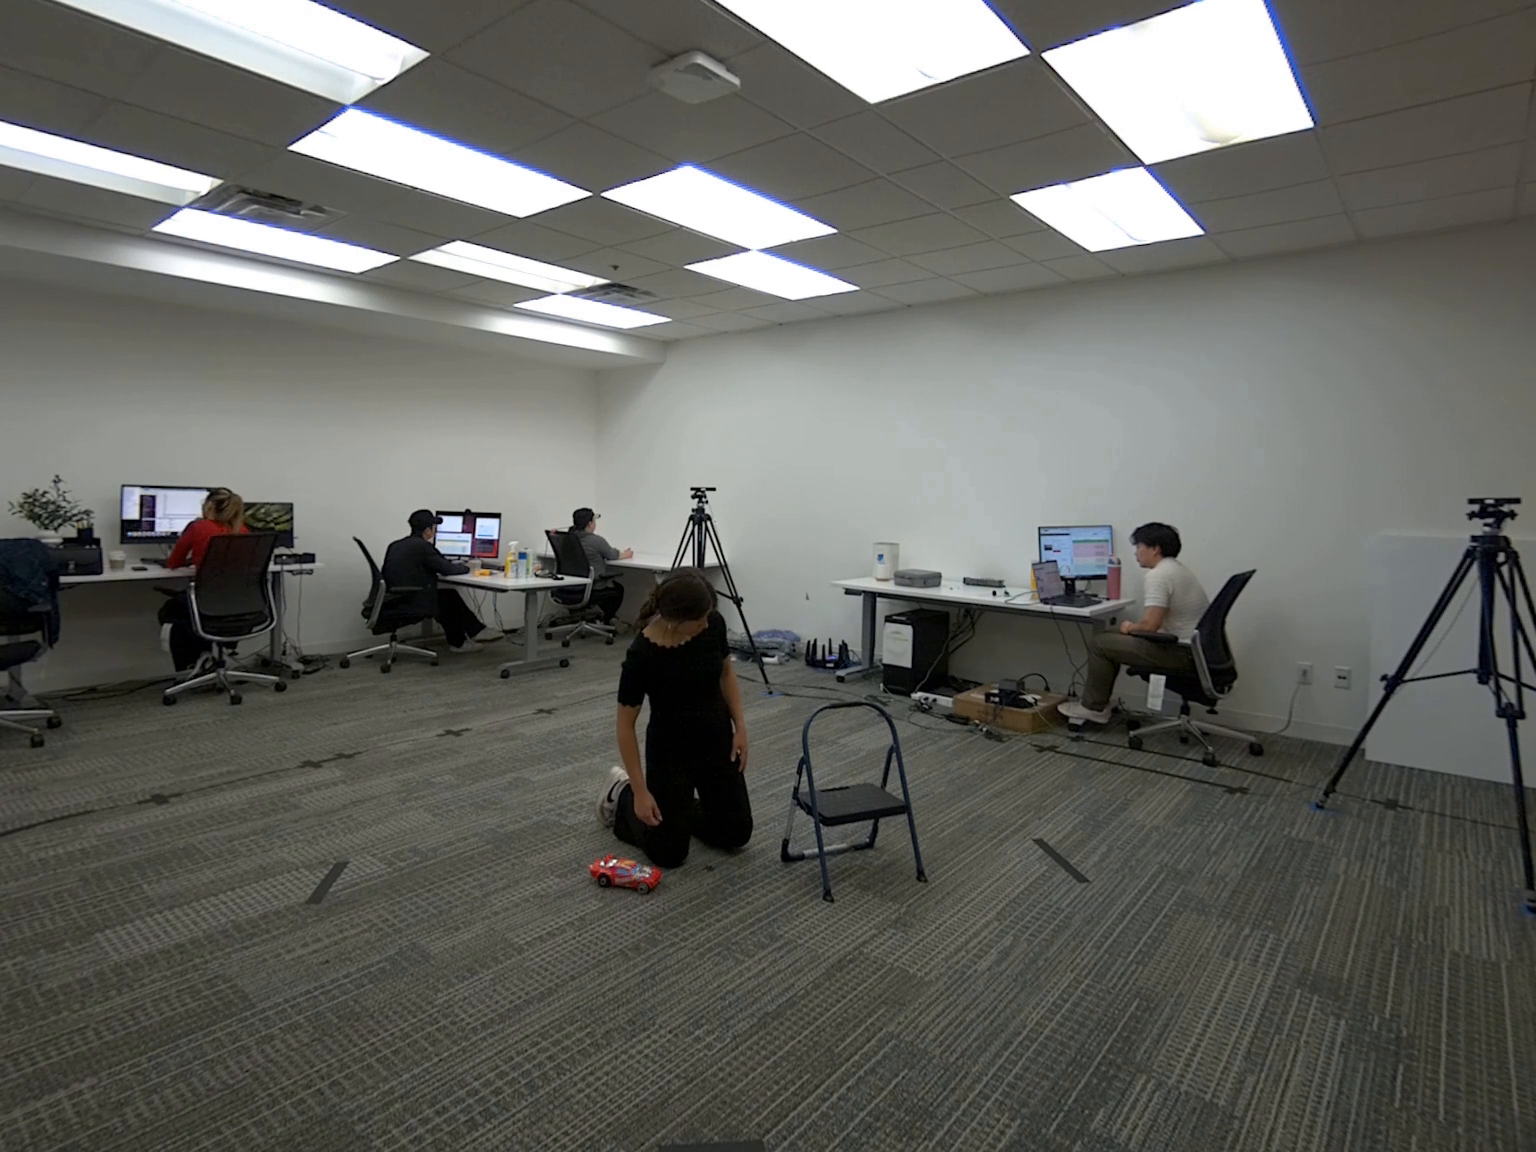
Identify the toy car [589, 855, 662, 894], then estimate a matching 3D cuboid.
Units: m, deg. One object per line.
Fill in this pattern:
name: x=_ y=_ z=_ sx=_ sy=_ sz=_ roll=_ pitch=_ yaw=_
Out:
toy car: x=-0.520 y=1.040 z=2.982 sx=0.259 sy=0.083 sz=0.129 roll=13 pitch=8 yaw=12
